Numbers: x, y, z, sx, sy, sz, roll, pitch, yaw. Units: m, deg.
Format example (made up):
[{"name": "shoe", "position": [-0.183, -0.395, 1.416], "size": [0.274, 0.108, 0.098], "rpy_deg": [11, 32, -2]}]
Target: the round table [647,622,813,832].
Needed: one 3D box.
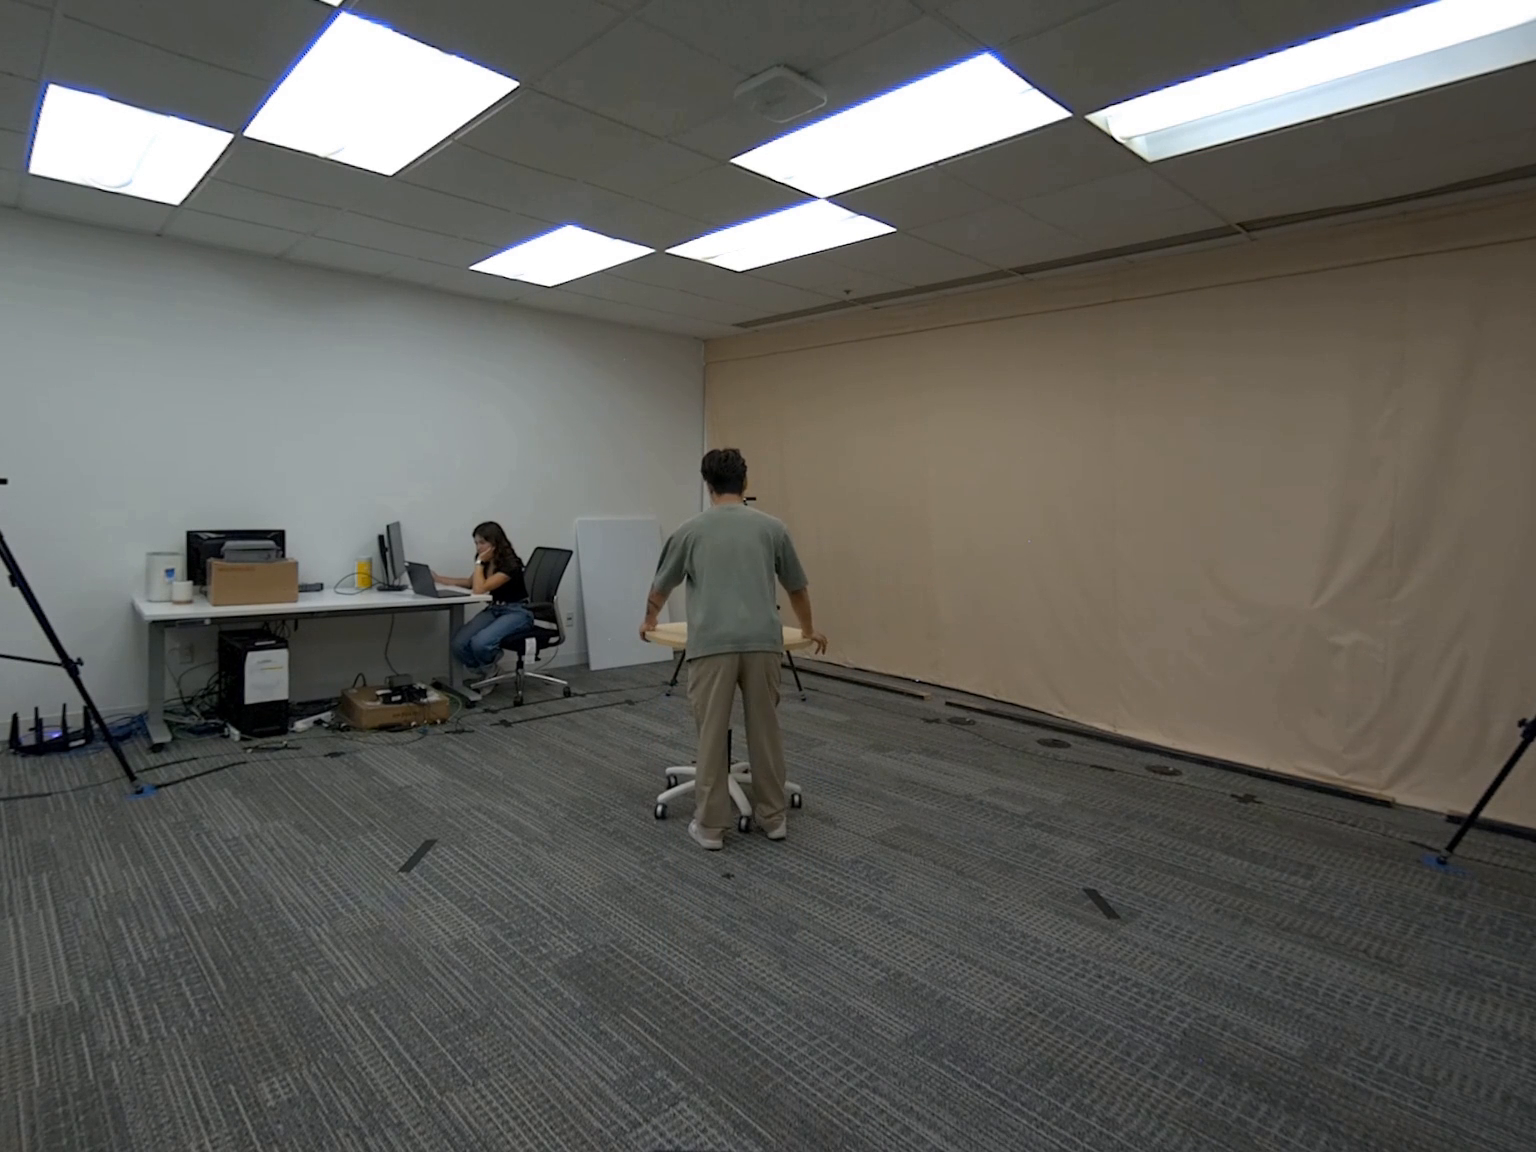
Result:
[{"name": "round table", "position": [-0.180, 0.651, 3.838], "size": [0.784, 0.785, 0.787], "rpy_deg": [2, 3, -1]}]
